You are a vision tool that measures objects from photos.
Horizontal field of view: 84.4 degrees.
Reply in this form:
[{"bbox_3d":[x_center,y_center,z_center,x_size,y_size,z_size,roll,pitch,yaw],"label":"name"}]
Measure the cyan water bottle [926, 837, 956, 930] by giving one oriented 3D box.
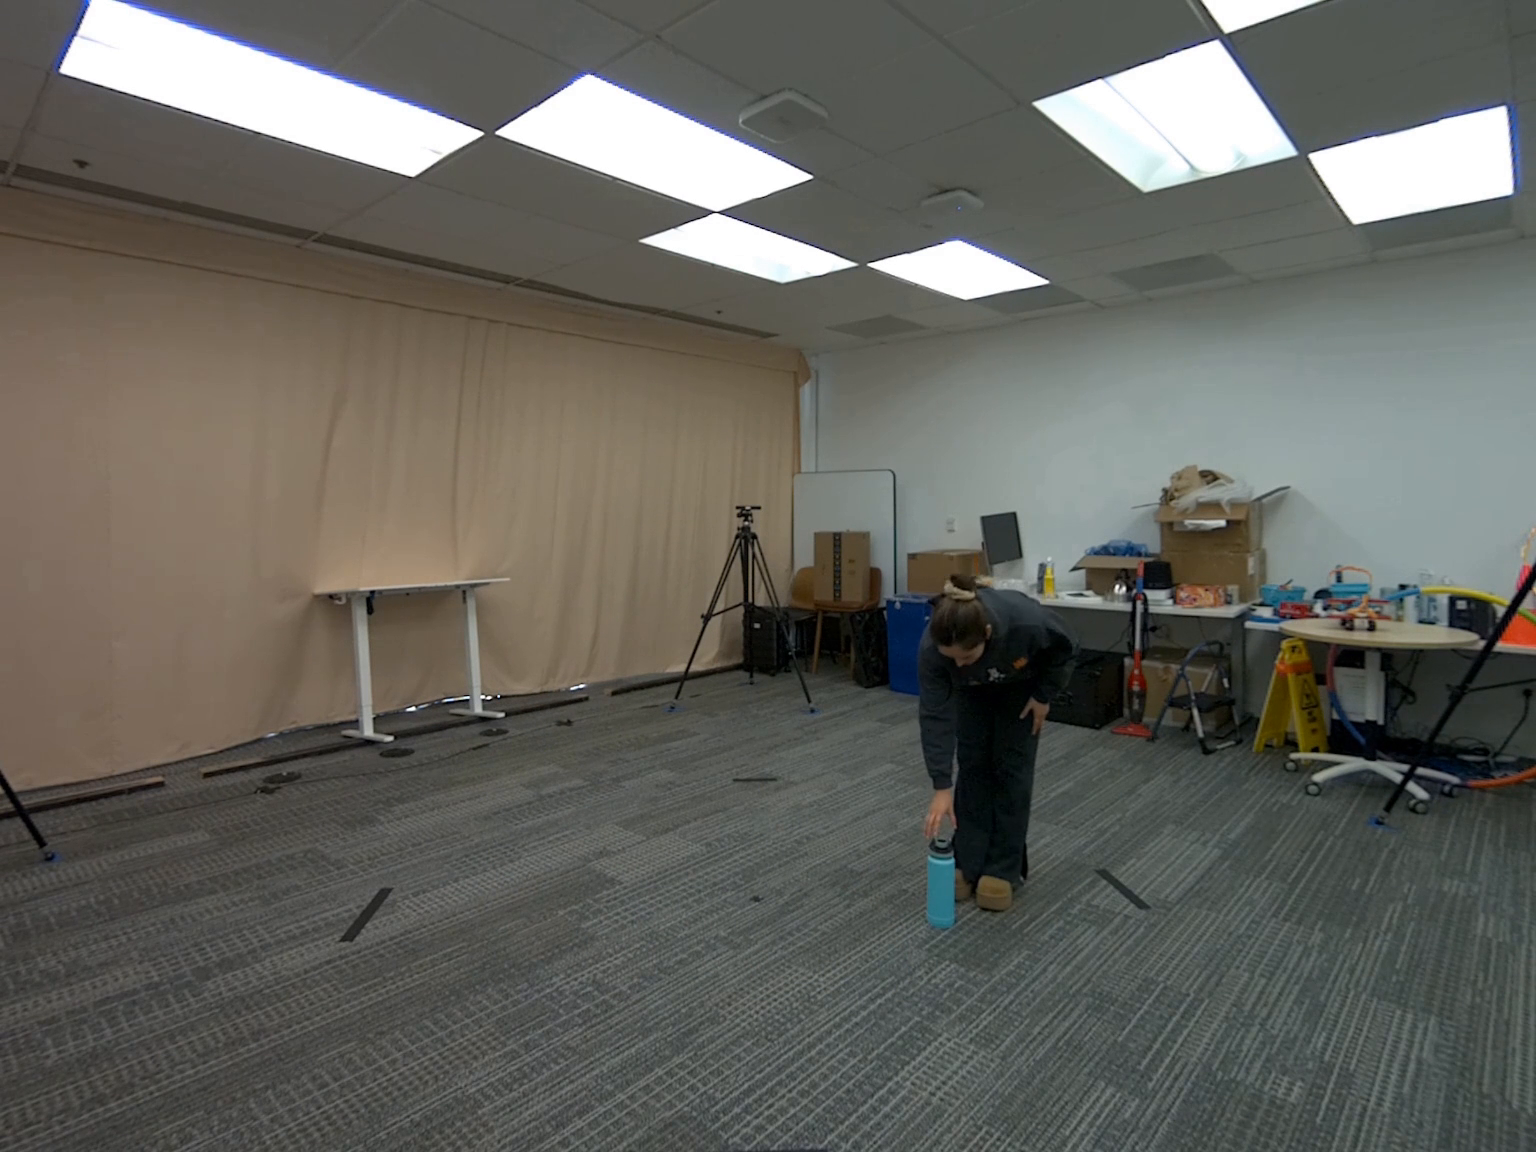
[{"bbox_3d":[0.601,1.009,2.799,0.092,0.283,0.092,-1,1,-2],"label":"cyan water bottle"}]
